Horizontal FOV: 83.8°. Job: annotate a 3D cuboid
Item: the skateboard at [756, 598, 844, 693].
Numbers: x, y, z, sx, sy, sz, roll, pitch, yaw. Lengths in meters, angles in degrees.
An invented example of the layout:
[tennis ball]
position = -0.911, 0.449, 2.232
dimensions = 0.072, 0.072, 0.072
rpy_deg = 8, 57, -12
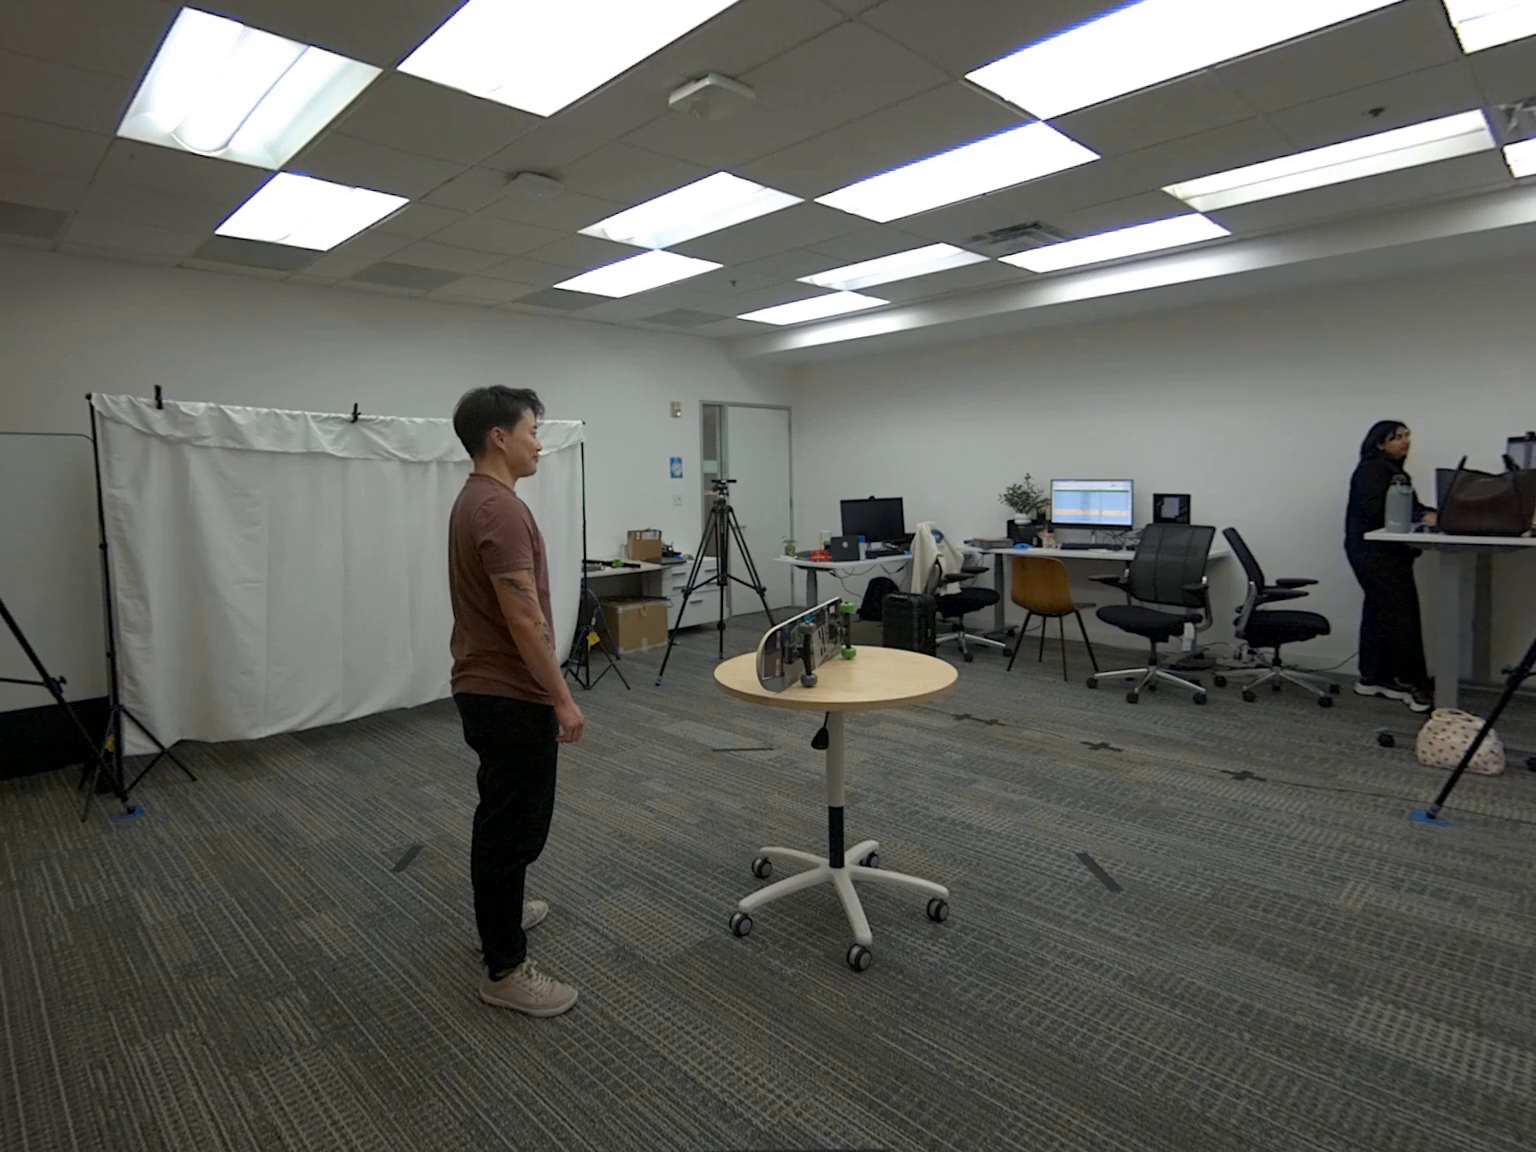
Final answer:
[skateboard]
position = 0.167, 0.206, 2.725
dimensions = 0.113, 0.192, 0.772
rpy_deg = 2, 8, 23
